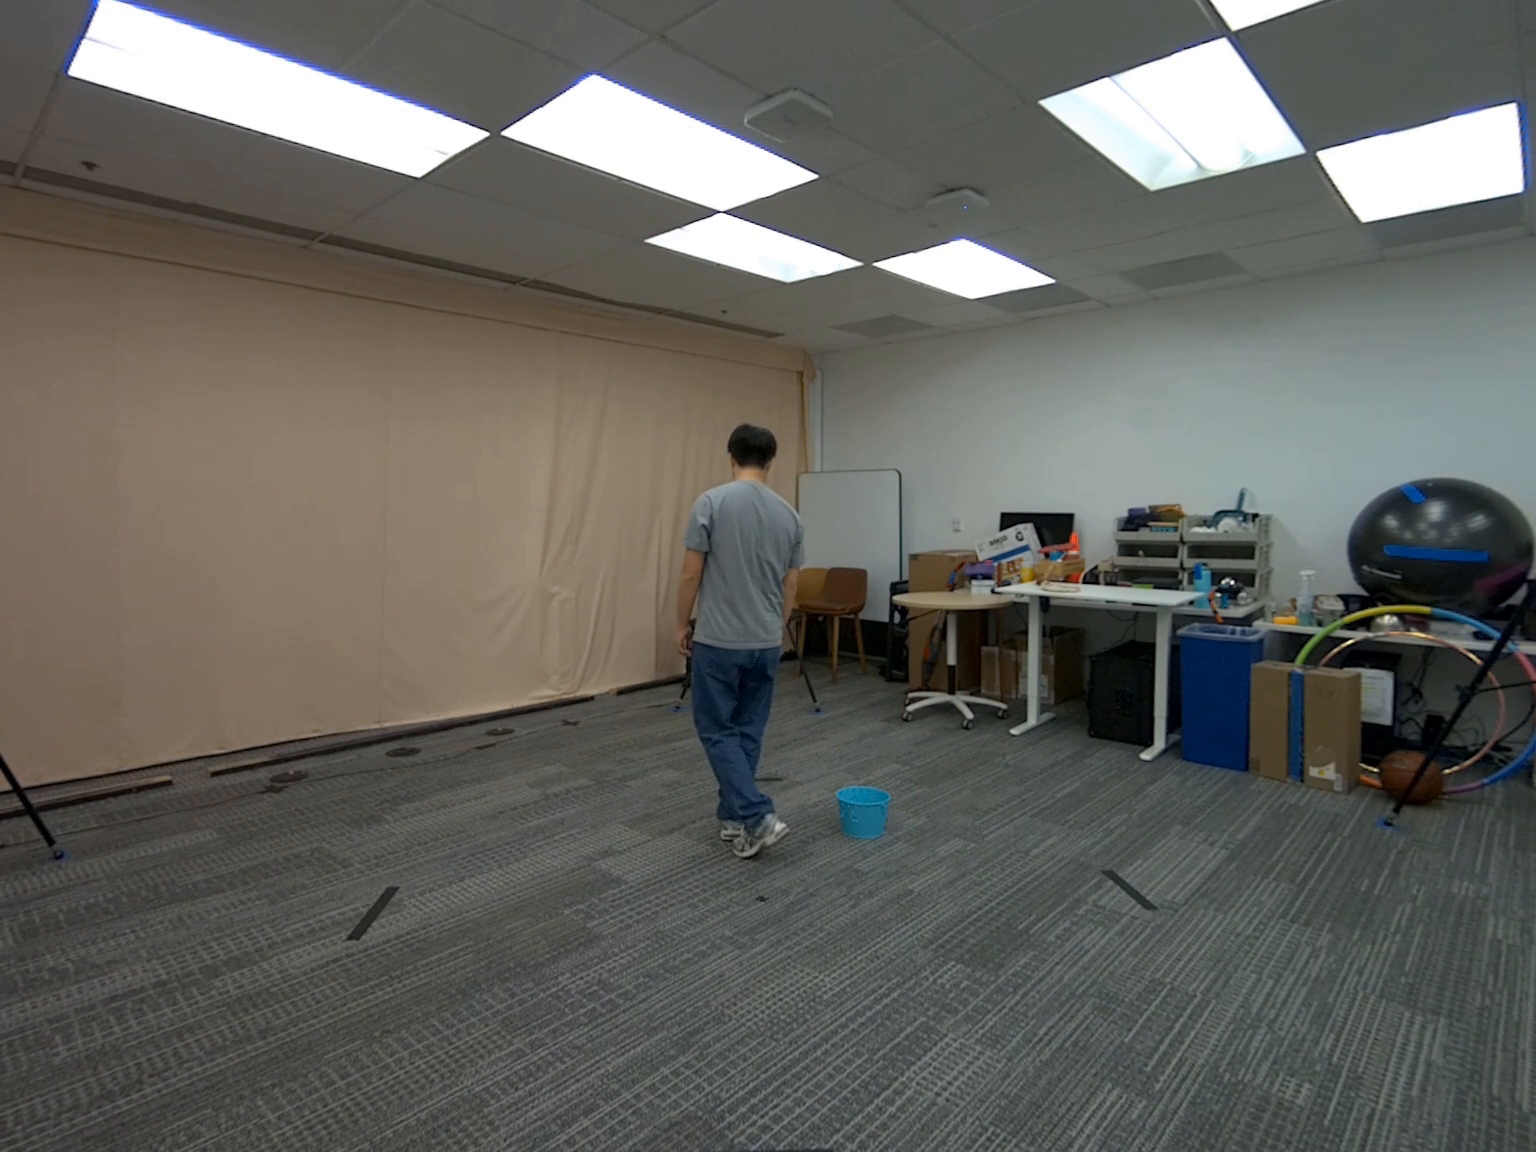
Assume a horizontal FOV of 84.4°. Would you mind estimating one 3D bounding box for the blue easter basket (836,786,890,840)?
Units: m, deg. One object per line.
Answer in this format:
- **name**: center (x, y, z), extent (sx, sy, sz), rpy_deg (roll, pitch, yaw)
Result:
- **blue easter basket**: center (0.416, 1.011, 3.604), extent (0.243, 0.155, 0.244), rpy_deg (0, 5, -2)
